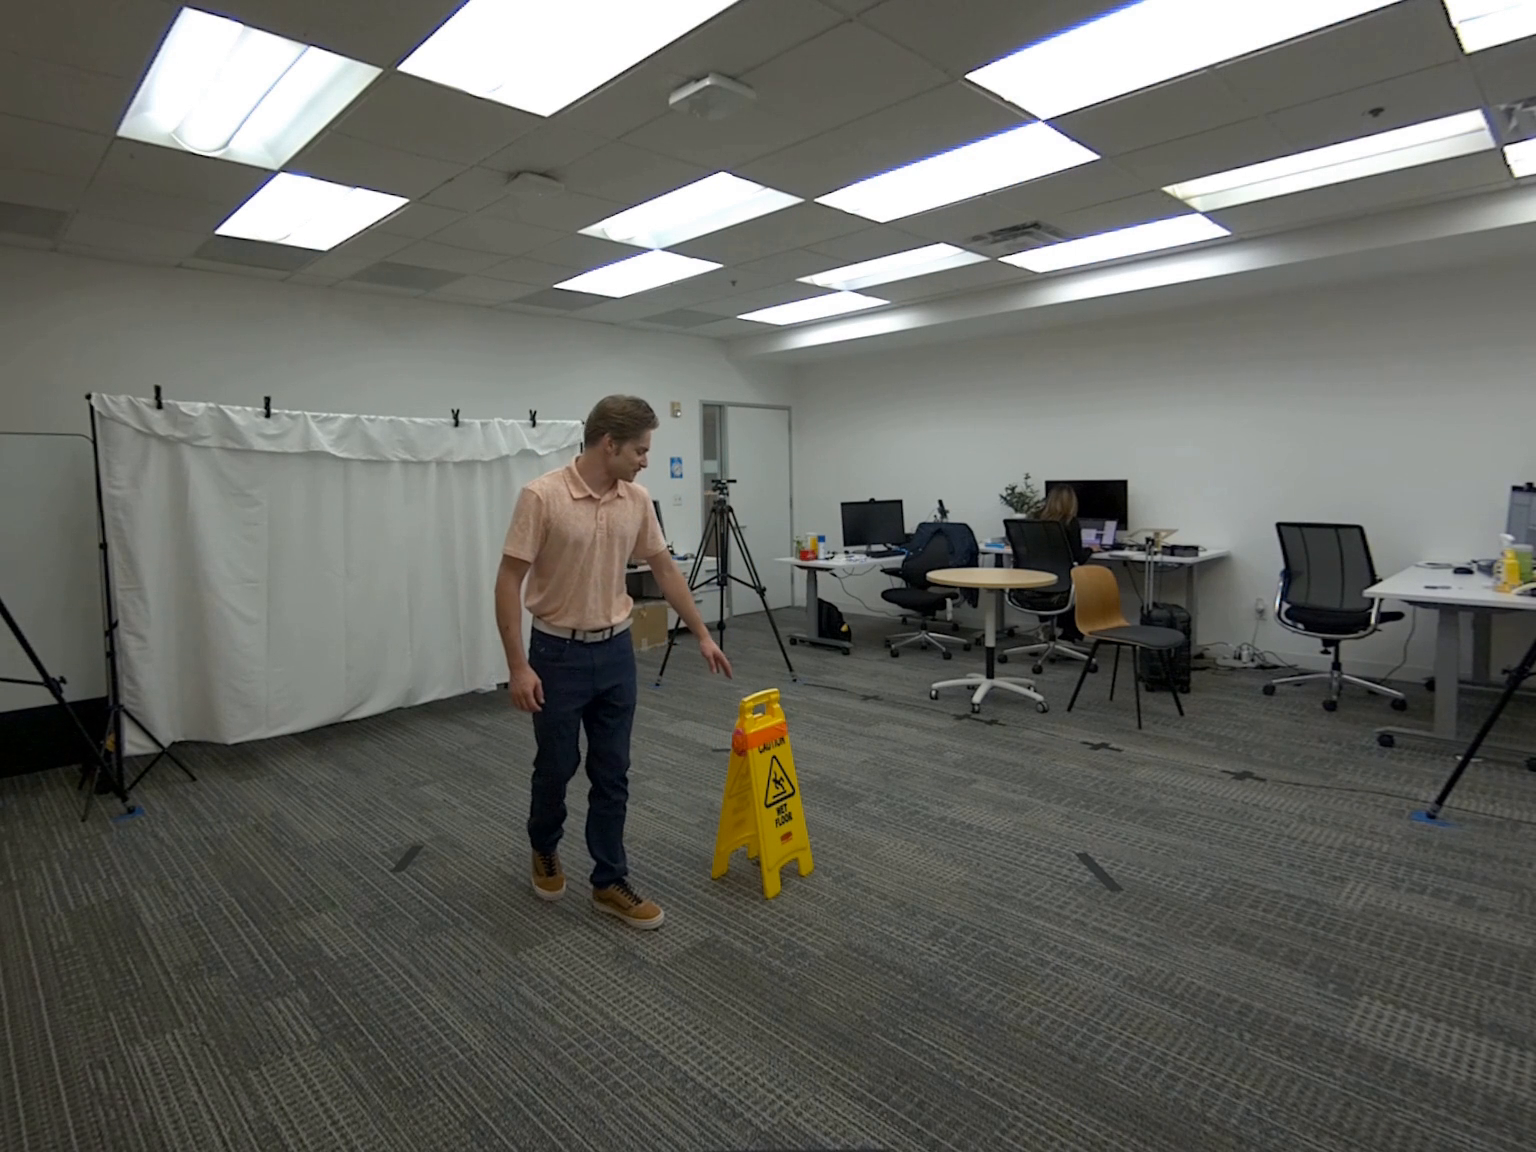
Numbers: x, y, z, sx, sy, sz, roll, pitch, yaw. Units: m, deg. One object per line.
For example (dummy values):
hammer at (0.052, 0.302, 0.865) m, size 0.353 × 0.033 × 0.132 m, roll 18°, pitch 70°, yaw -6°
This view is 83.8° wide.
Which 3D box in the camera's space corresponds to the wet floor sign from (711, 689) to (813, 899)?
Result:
wet floor sign at (-0.023, 0.732, 3.007) m, size 0.298 × 0.644 × 0.275 m, roll 1°, pitch 4°, yaw 38°
